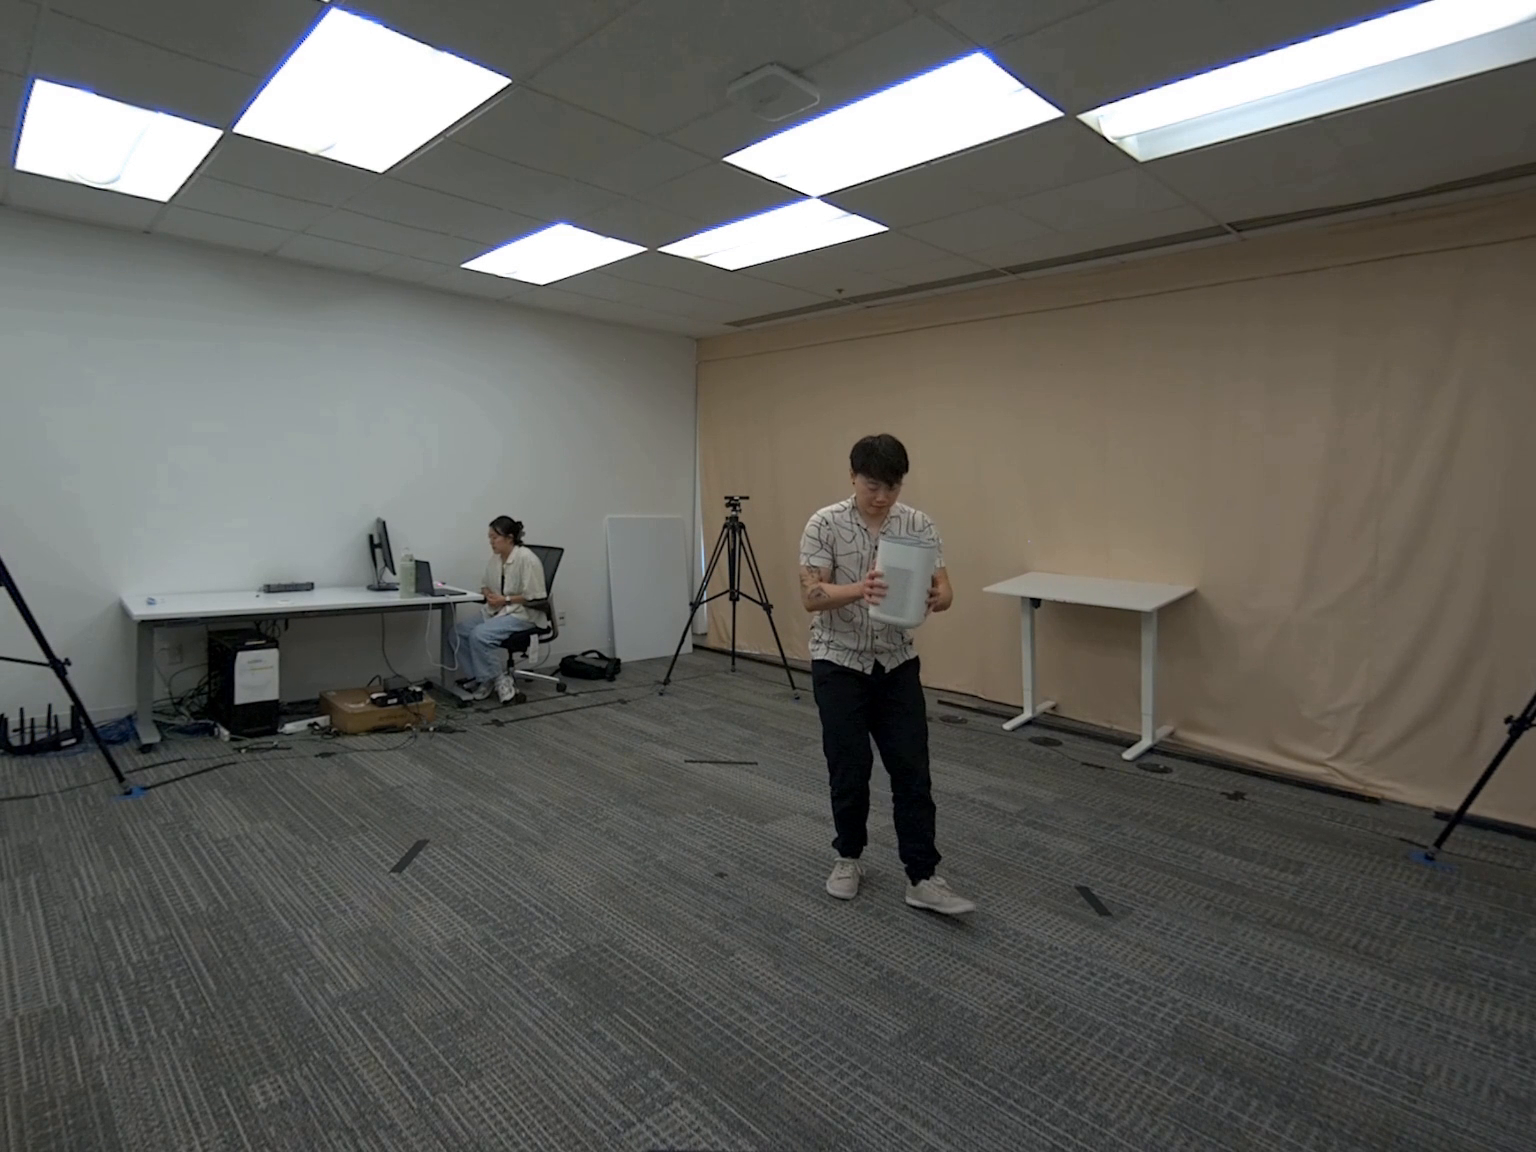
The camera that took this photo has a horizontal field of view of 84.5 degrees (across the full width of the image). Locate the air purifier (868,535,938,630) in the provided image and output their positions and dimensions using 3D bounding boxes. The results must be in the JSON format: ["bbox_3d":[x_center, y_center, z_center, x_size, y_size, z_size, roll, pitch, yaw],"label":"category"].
[{"bbox_3d":[0.416,0.021,2.640,0.174,0.264,0.169,10,9,23],"label":"air purifier"}]
